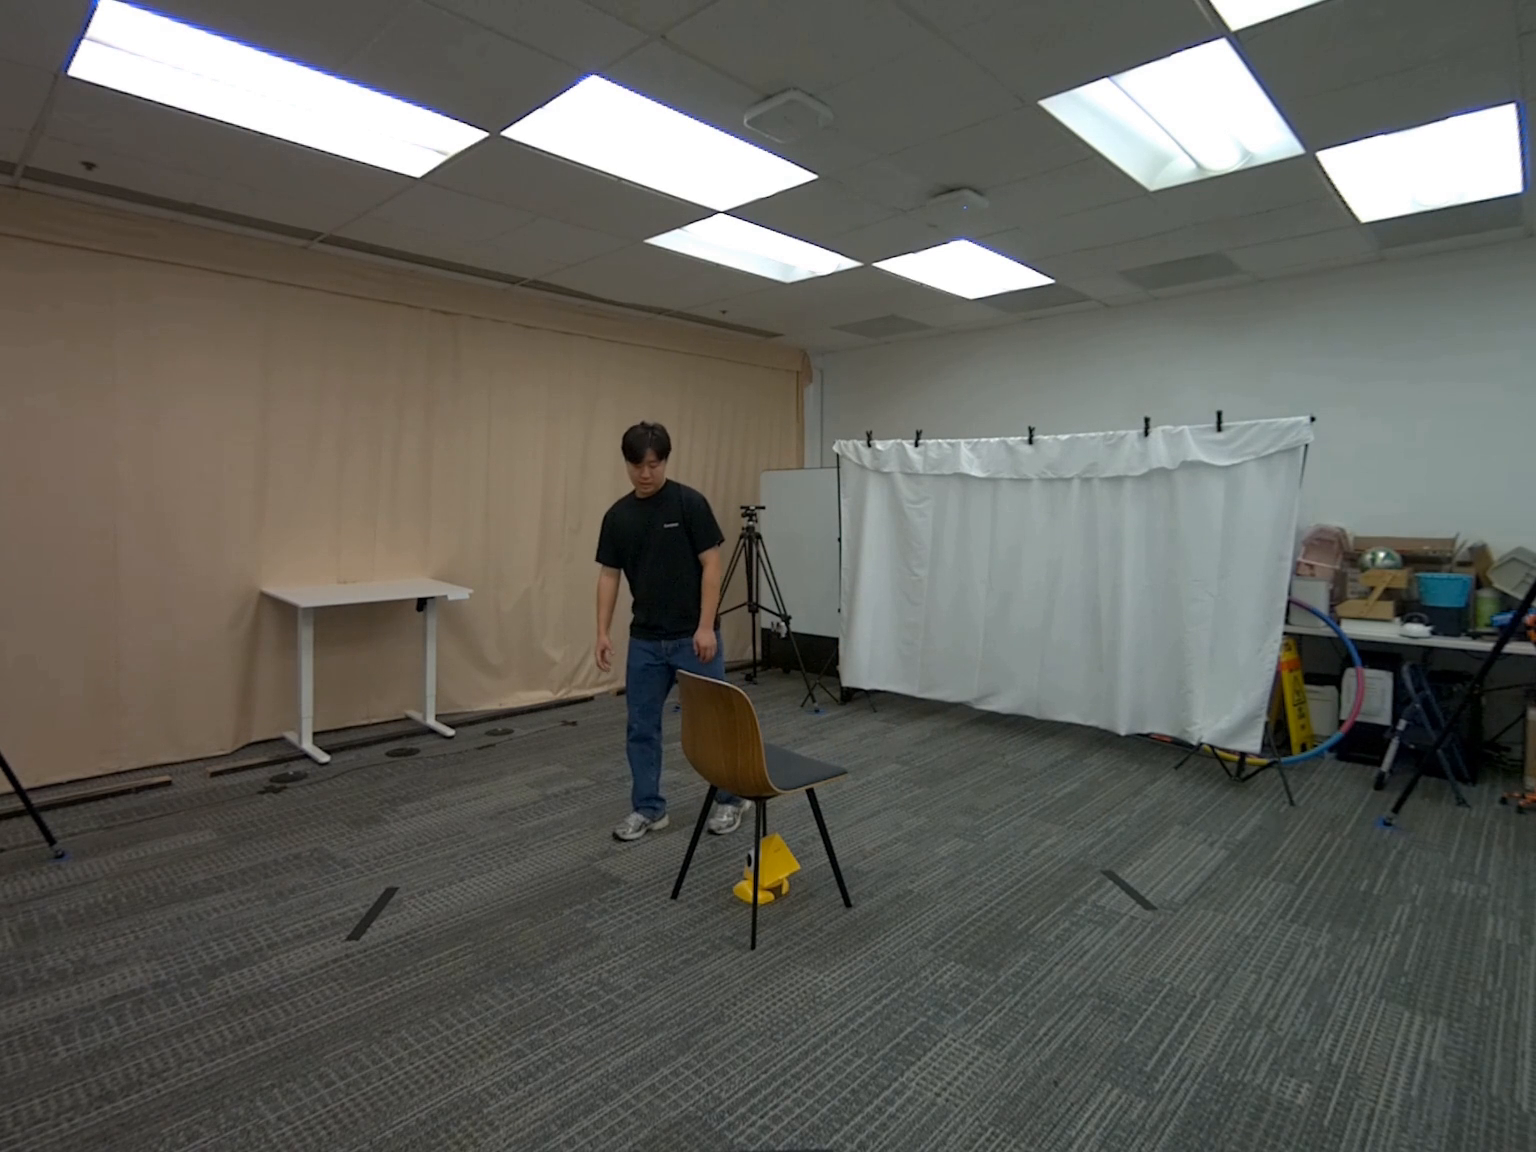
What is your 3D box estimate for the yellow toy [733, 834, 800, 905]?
[{"bbox_3d":[-0.015,1.025,3.033,0.199,0.230,0.198,2,5,42],"label":"yellow toy"}]
